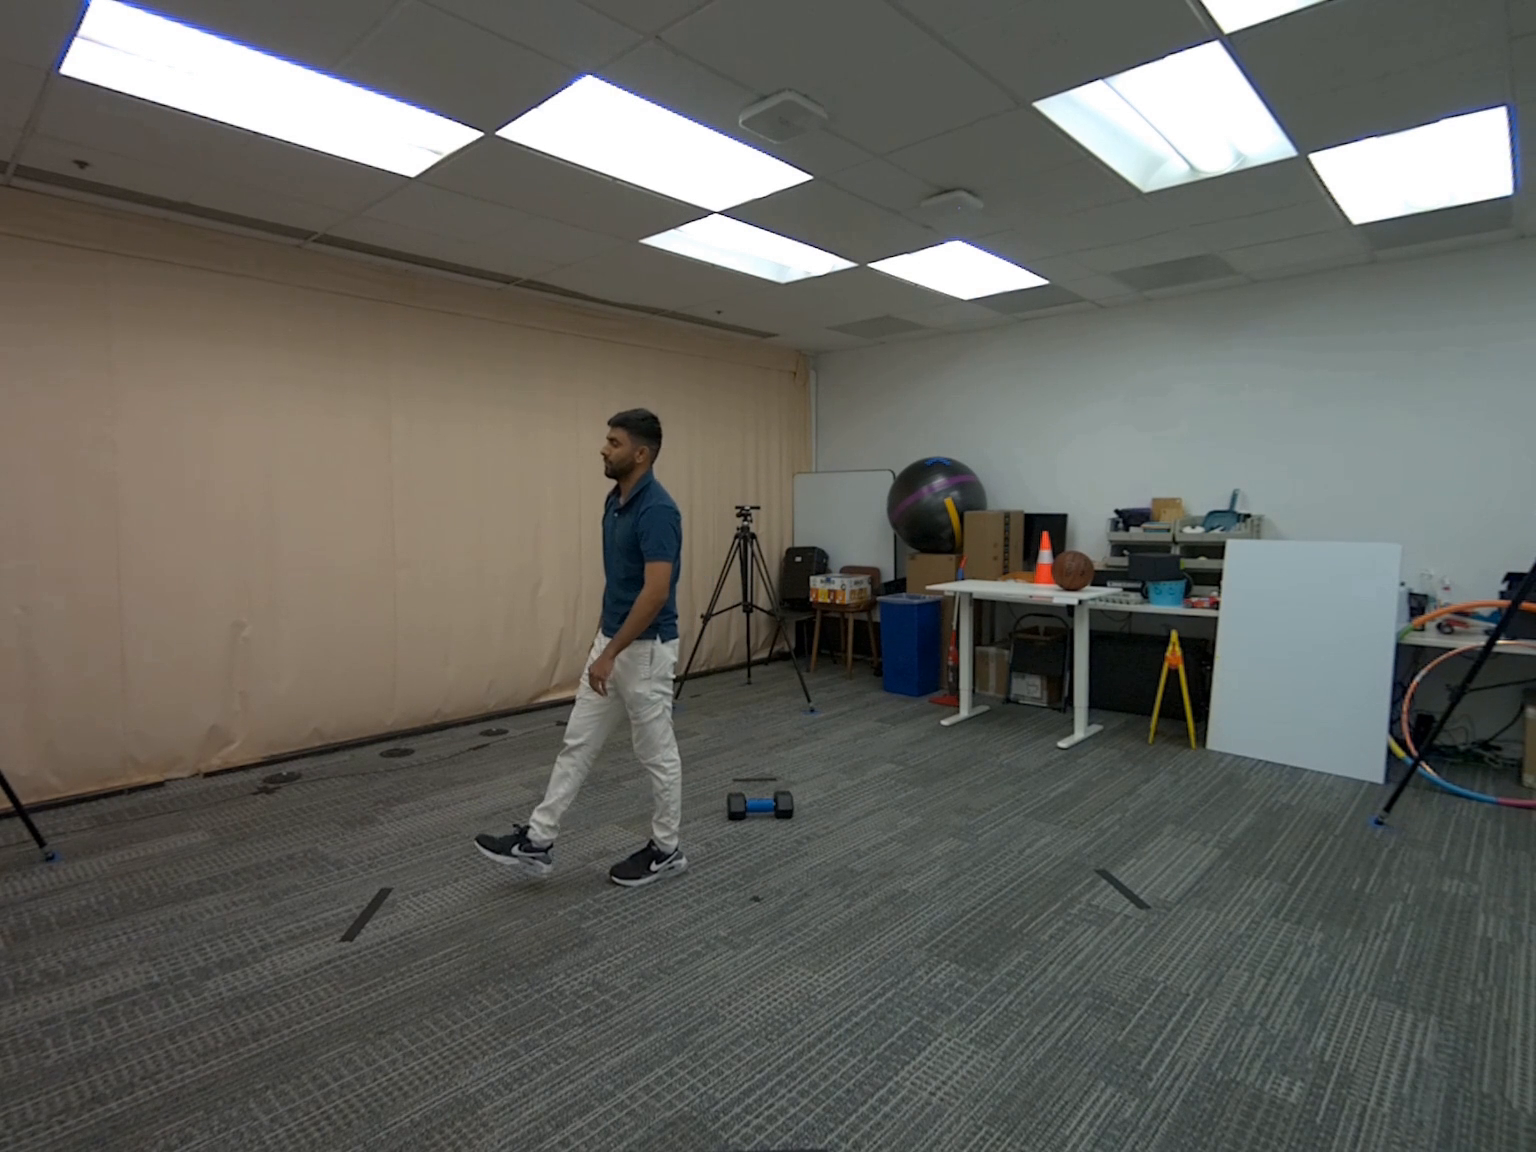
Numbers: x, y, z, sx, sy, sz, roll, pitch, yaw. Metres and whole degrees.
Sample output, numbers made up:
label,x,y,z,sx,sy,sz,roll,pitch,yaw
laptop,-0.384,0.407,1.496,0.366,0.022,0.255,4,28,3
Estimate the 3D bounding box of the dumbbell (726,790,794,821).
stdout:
label,x,y,z,sx,sy,sz,roll,pitch,yaw
dumbbell,-0.039,1.027,3.765,0.292,0.121,0.111,0,34,-5
